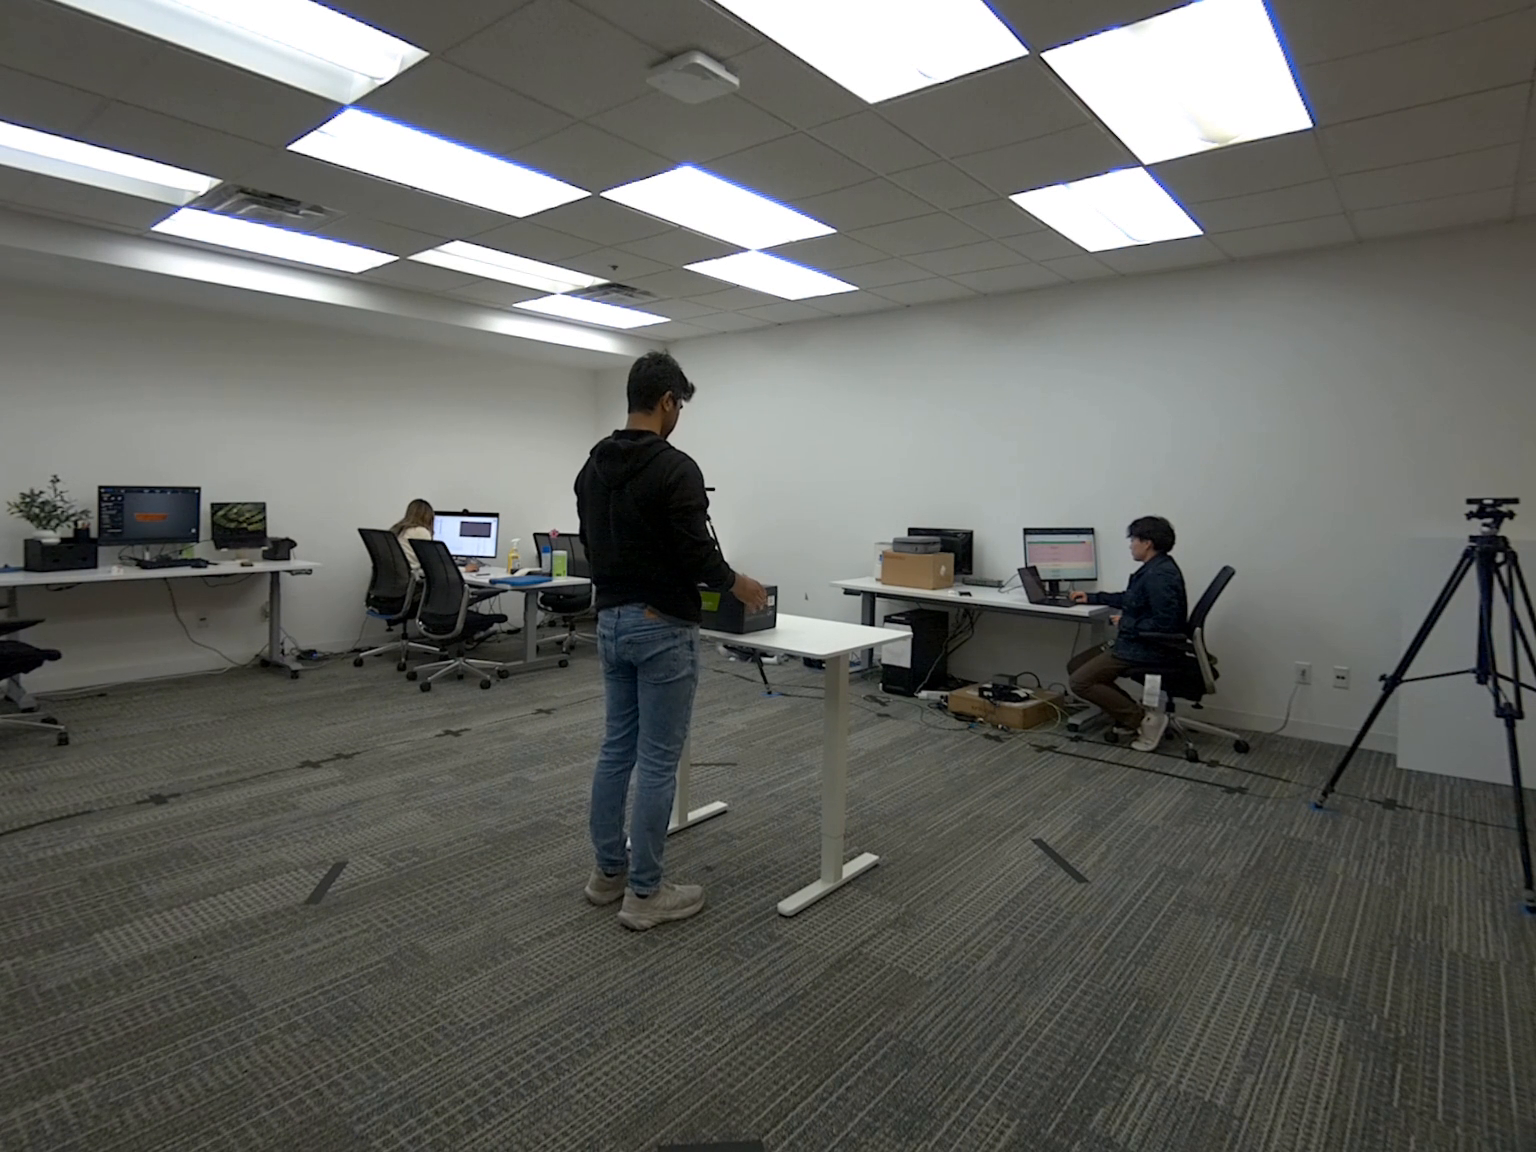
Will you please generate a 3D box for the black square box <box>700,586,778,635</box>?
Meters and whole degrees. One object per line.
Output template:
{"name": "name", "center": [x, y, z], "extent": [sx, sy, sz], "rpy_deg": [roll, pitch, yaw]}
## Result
{"name": "black square box", "center": [-0.128, 0.107, 3.105], "extent": [0.235, 0.155, 0.211], "rpy_deg": [4, 6, 36]}
